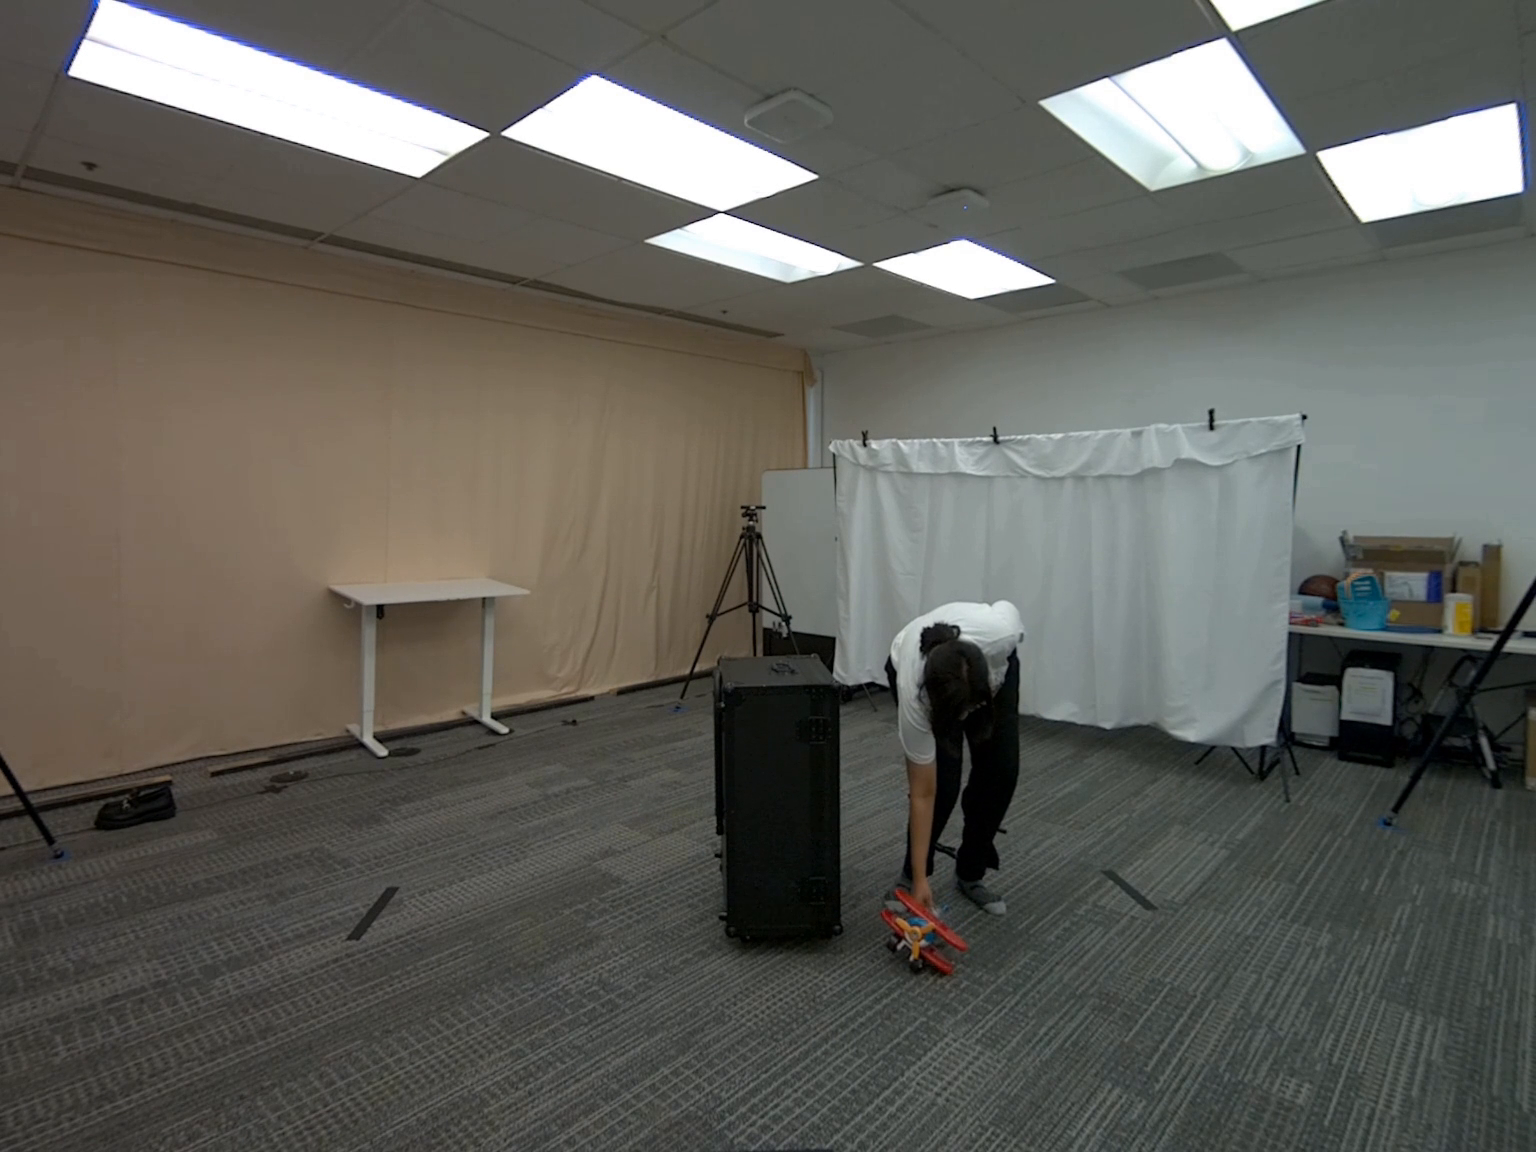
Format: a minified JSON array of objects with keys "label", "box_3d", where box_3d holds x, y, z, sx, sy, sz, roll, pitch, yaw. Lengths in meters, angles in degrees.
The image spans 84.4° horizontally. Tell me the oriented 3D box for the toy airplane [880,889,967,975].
[{"label":"toy airplane","box_3d":[0.474,1.089,2.591,0.253,0.156,0.258,25,16,5]}]
